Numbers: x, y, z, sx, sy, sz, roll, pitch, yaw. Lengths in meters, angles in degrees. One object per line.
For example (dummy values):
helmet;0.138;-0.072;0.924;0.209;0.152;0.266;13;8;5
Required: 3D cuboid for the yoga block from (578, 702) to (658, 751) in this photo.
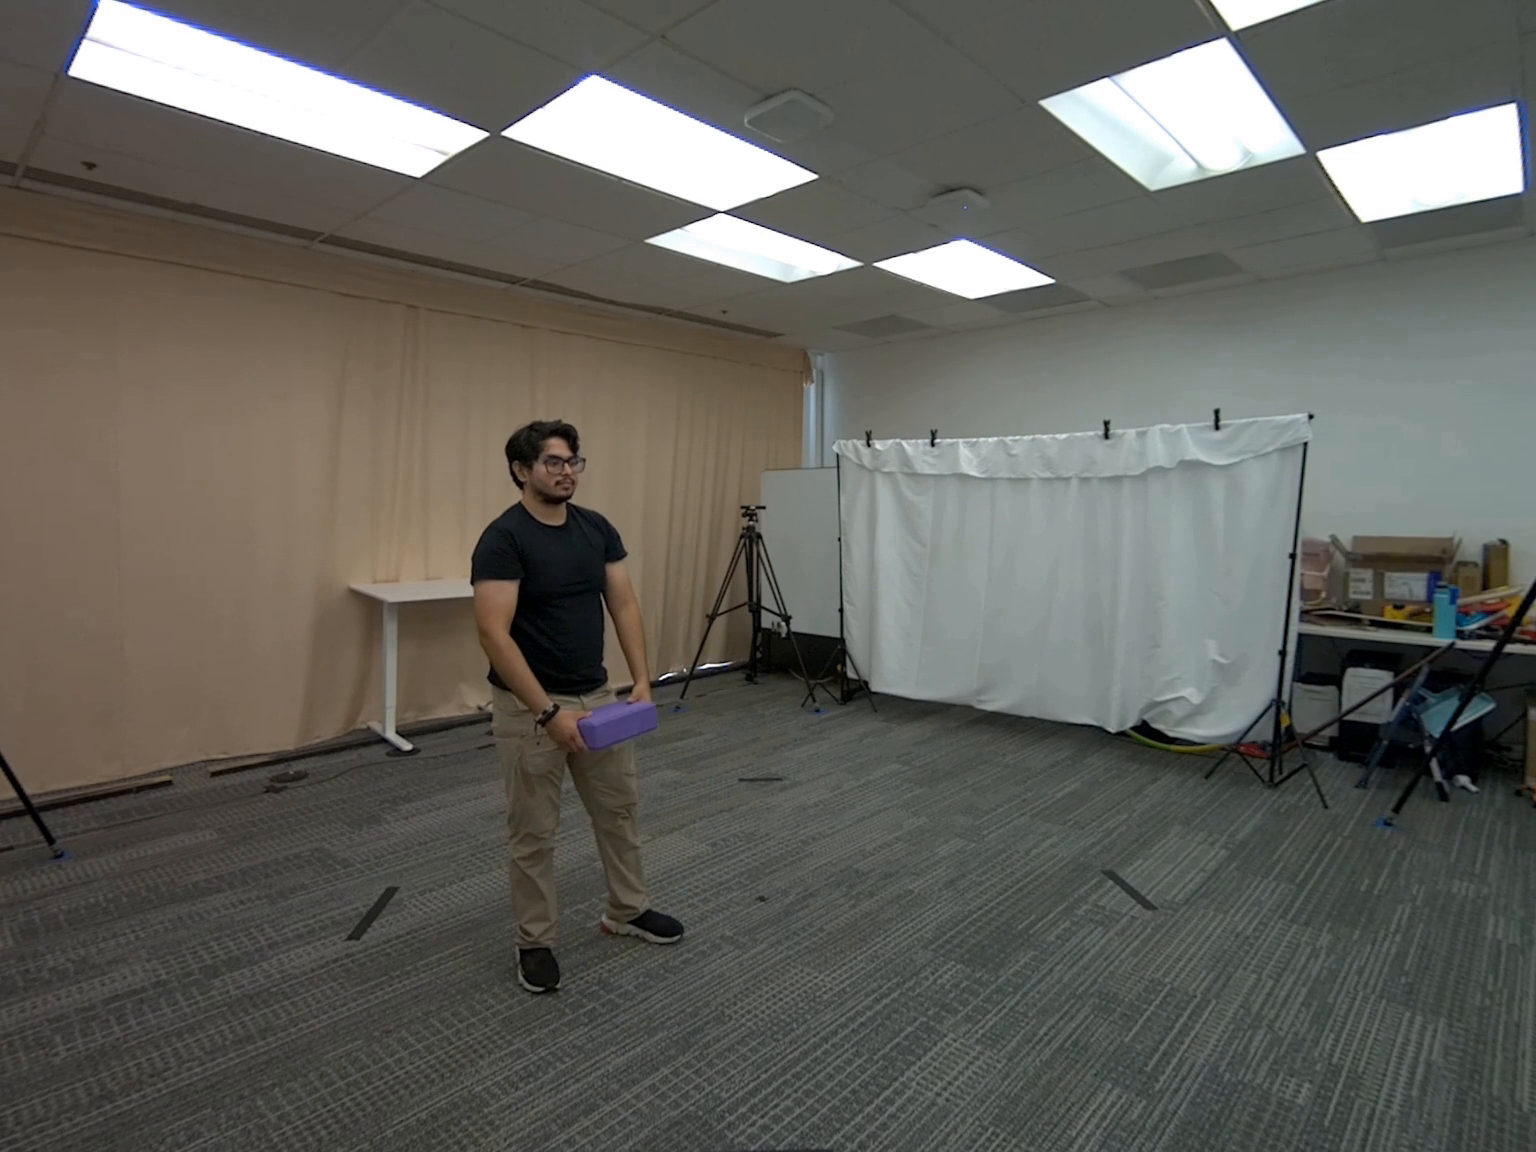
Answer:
yoga block;-0.437;0.405;2.331;0.153;0.076;0.224;-2;5;29
